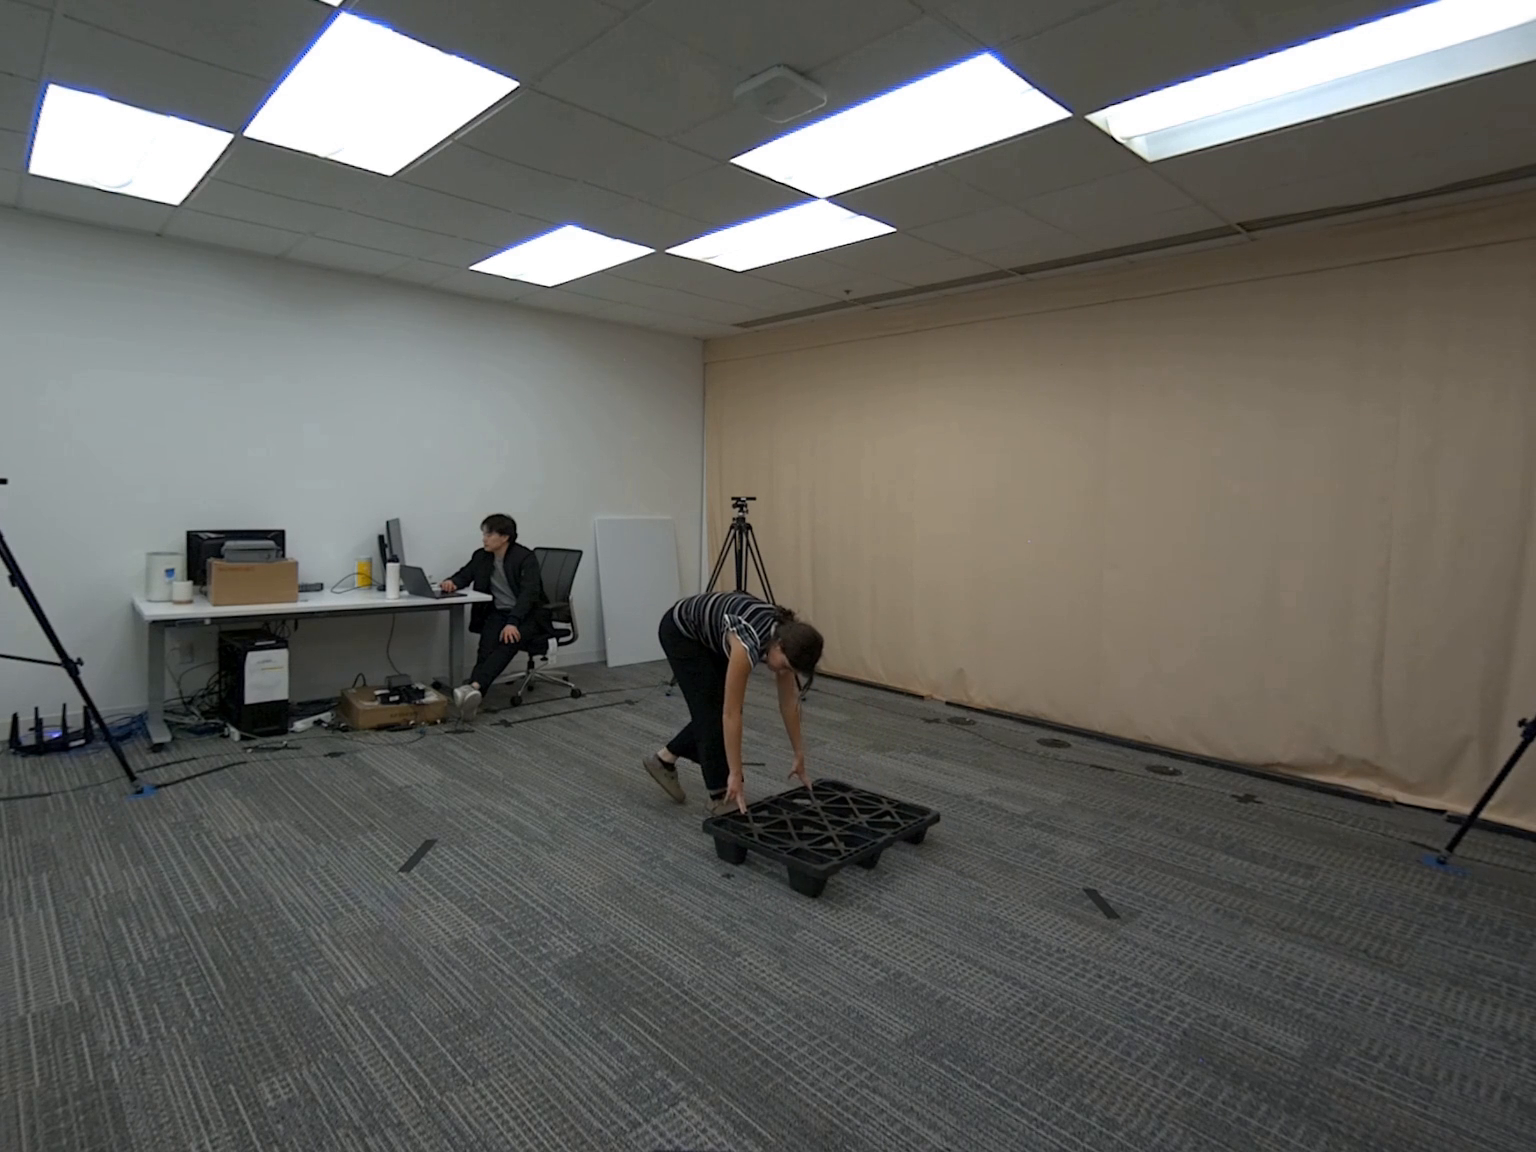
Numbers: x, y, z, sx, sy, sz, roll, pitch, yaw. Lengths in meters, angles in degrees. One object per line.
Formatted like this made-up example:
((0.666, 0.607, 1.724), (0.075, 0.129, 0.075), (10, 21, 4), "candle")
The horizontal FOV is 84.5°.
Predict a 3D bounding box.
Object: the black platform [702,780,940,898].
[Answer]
((0.218, 1.025, 3.354), (0.621, 0.143, 0.787), (6, 7, 42), "black platform")
